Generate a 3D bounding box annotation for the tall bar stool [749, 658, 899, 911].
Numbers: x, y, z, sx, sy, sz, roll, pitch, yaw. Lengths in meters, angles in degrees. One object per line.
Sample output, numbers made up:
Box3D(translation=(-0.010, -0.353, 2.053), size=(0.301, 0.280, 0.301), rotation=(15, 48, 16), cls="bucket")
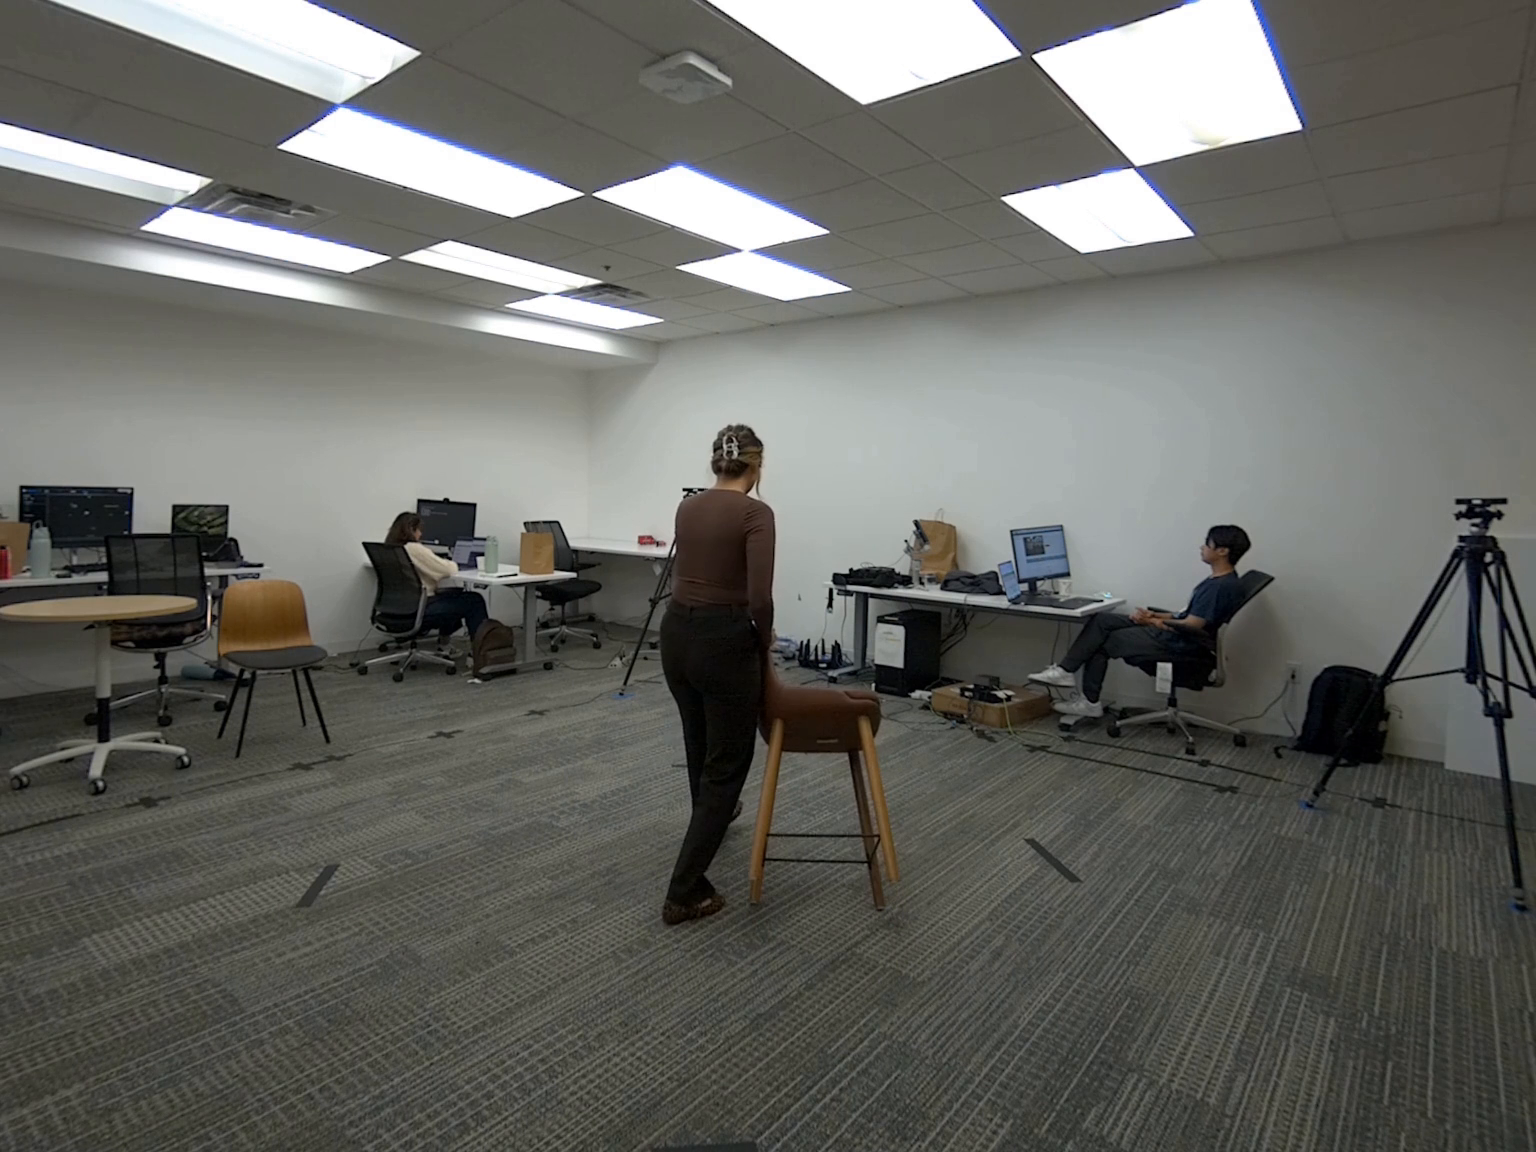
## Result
Box3D(translation=(0.155, 0.638, 2.933), size=(0.468, 0.915, 0.443), rotation=(-3, -34, 0), cls="tall bar stool")
